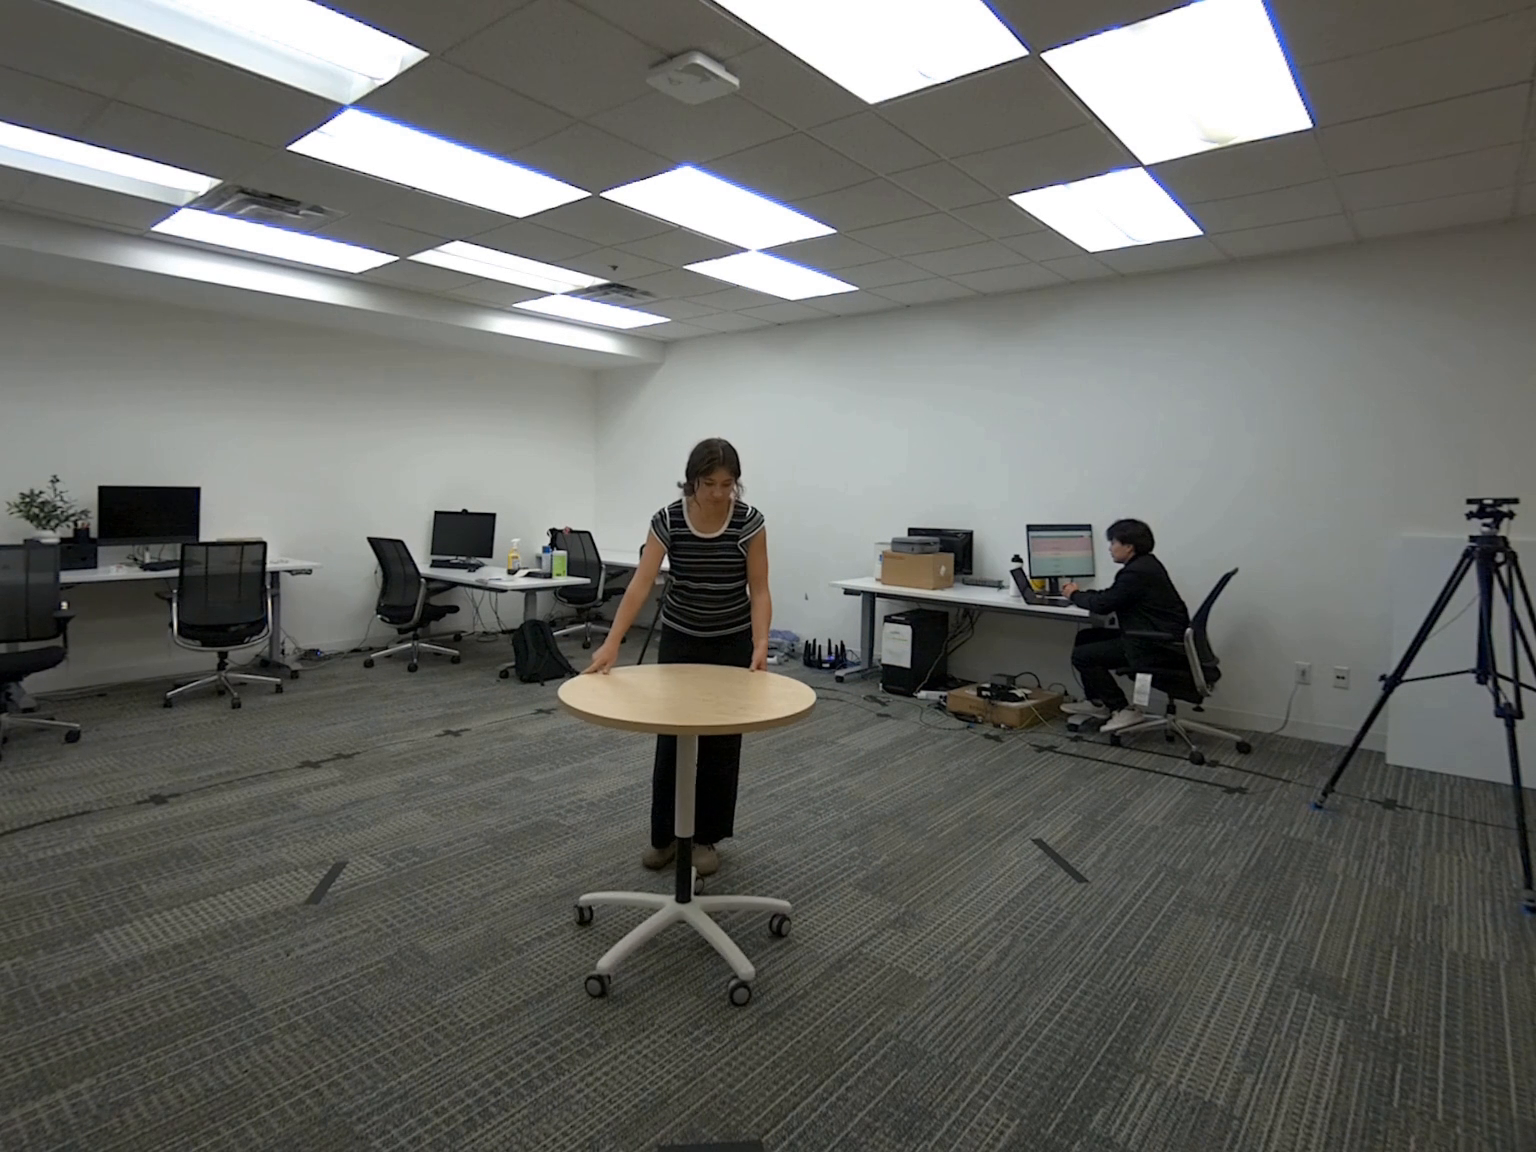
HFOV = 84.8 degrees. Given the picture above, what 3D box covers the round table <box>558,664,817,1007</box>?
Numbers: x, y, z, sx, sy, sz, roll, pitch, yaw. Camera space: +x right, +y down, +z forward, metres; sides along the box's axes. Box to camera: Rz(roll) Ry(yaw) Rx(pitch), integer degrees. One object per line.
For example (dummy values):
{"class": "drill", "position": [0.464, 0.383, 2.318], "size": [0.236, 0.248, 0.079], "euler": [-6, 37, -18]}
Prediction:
{"class": "round table", "position": [-0.256, 0.722, 2.578], "size": [0.784, 0.784, 0.789], "euler": [1, 5, -2]}
